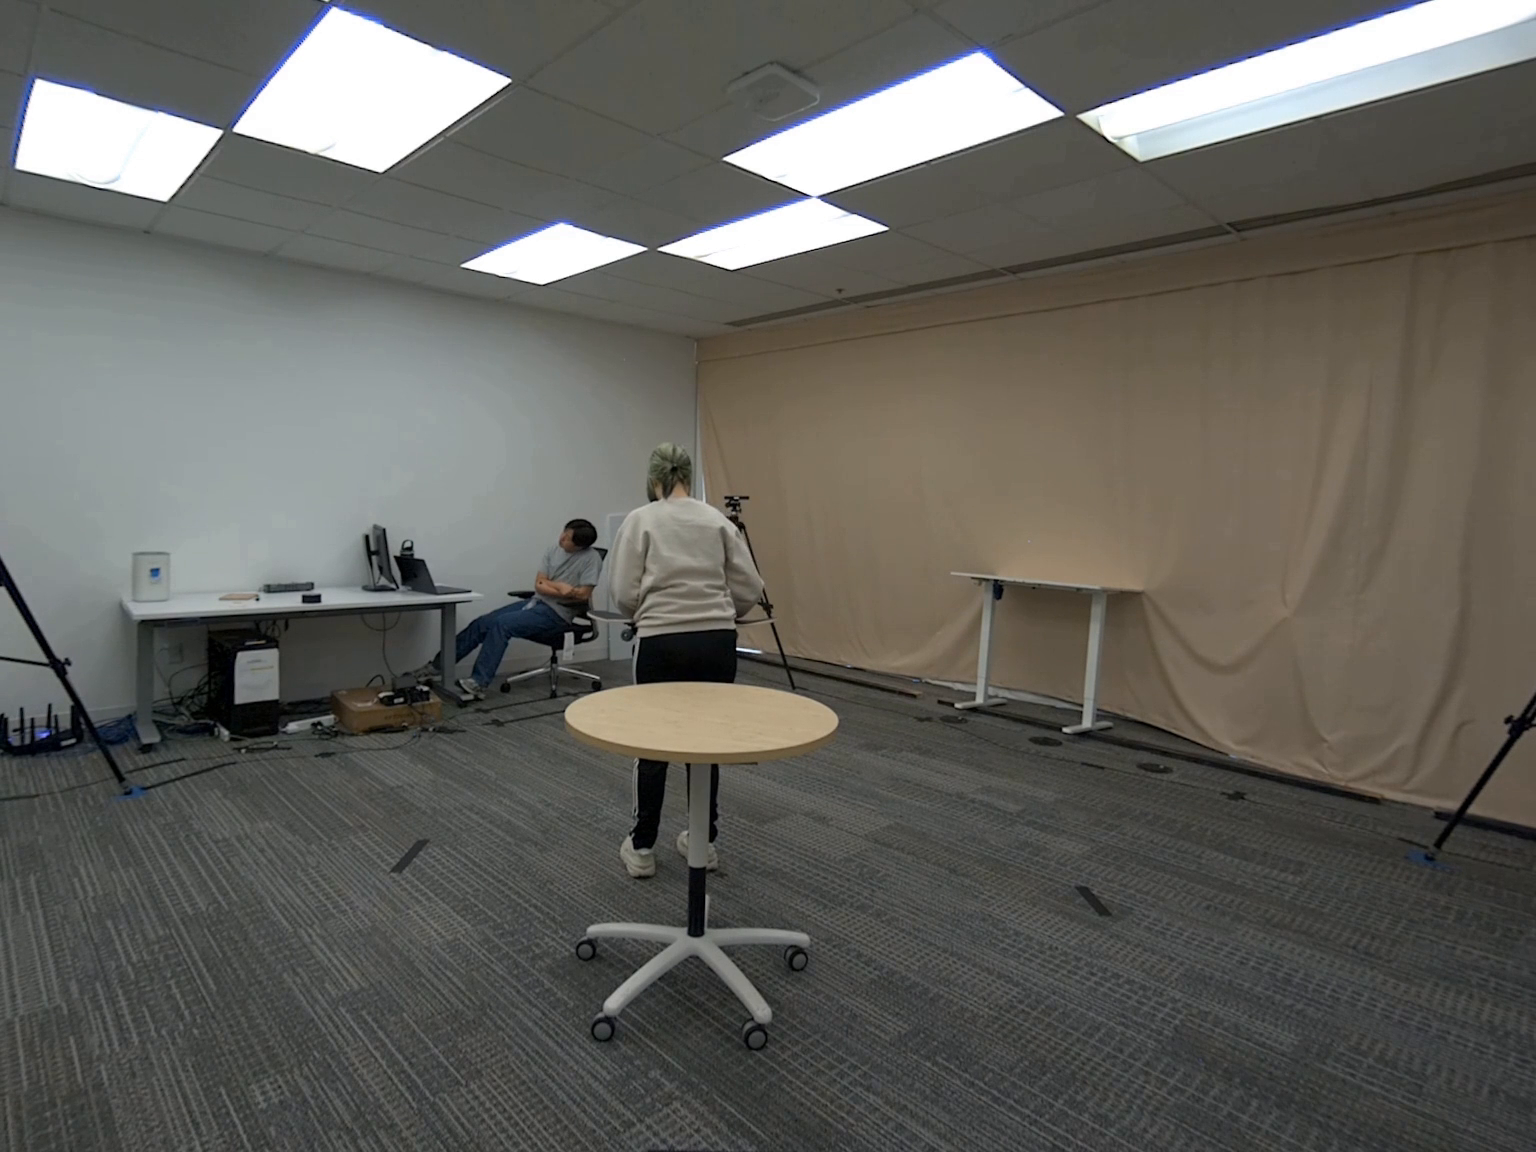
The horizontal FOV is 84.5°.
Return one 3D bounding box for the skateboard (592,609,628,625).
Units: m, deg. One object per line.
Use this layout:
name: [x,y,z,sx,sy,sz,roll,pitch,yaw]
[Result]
skateboard: [-0.355,0.214,3.397,0.793,0.110,0.192,2,1,12]
